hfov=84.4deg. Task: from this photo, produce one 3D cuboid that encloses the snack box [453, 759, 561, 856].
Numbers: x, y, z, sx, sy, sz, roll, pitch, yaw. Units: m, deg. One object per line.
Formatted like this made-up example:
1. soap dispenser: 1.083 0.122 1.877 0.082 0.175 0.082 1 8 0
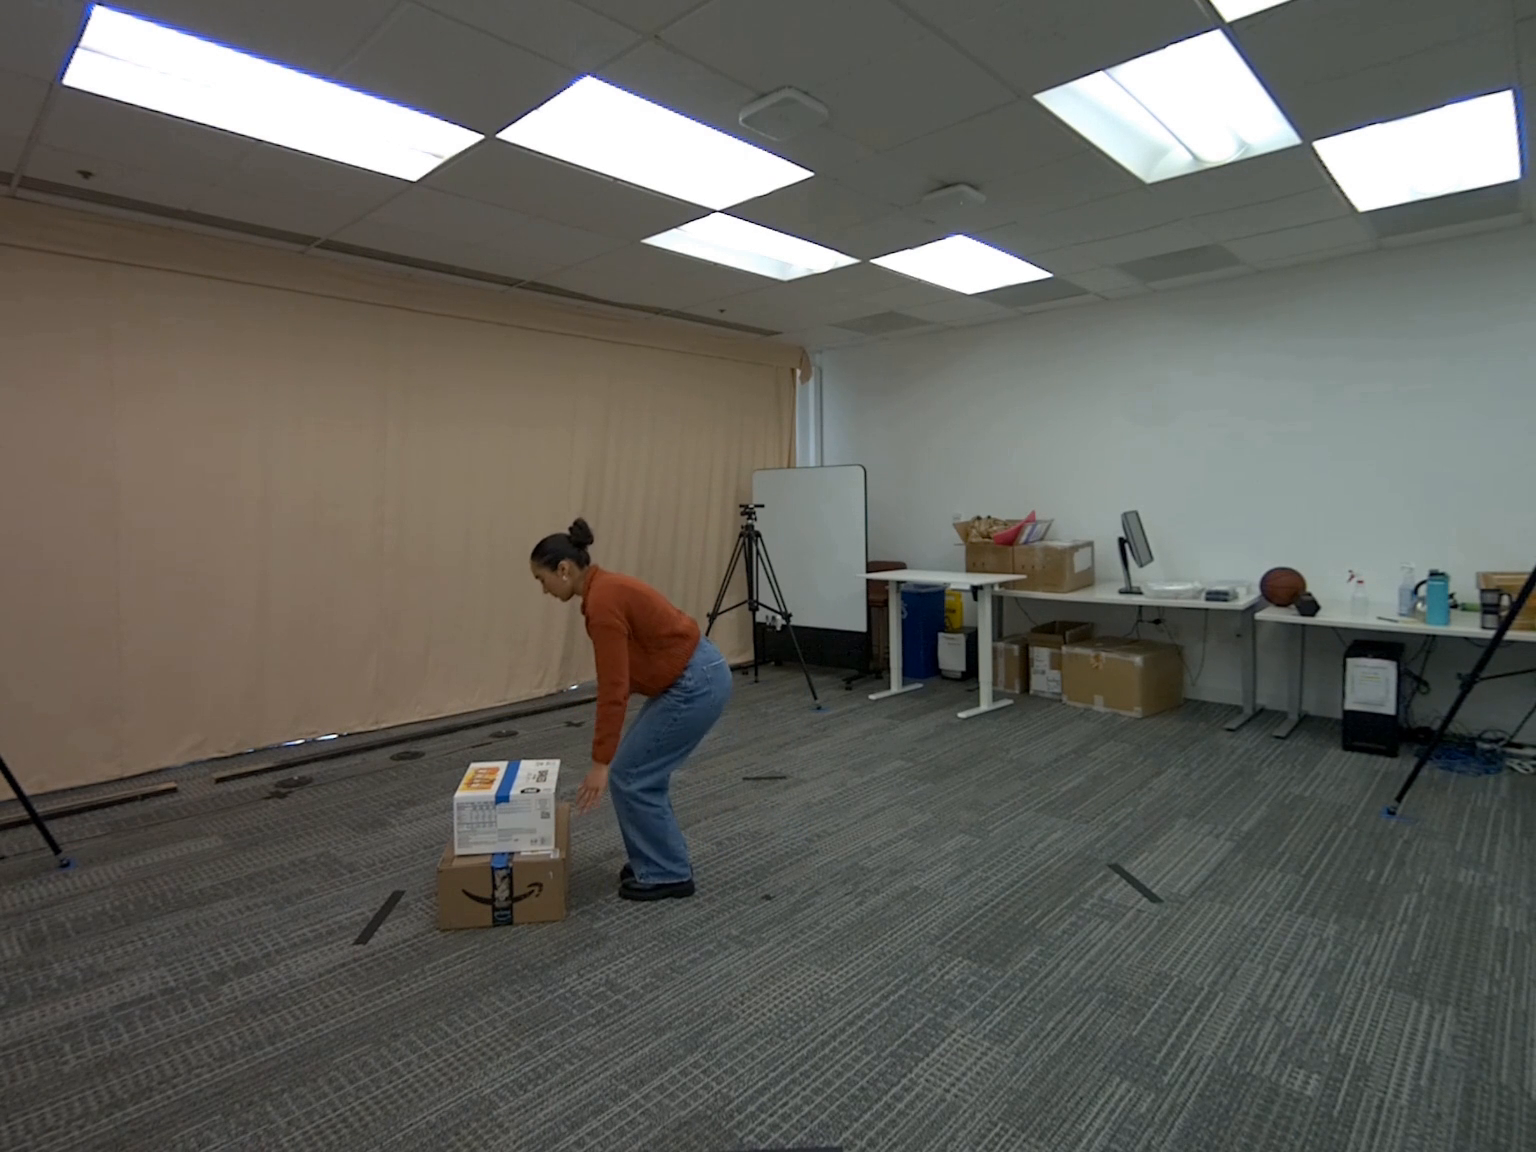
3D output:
1. snack box: -0.946 0.839 3.078 0.337 0.205 0.410 -1 4 -10
